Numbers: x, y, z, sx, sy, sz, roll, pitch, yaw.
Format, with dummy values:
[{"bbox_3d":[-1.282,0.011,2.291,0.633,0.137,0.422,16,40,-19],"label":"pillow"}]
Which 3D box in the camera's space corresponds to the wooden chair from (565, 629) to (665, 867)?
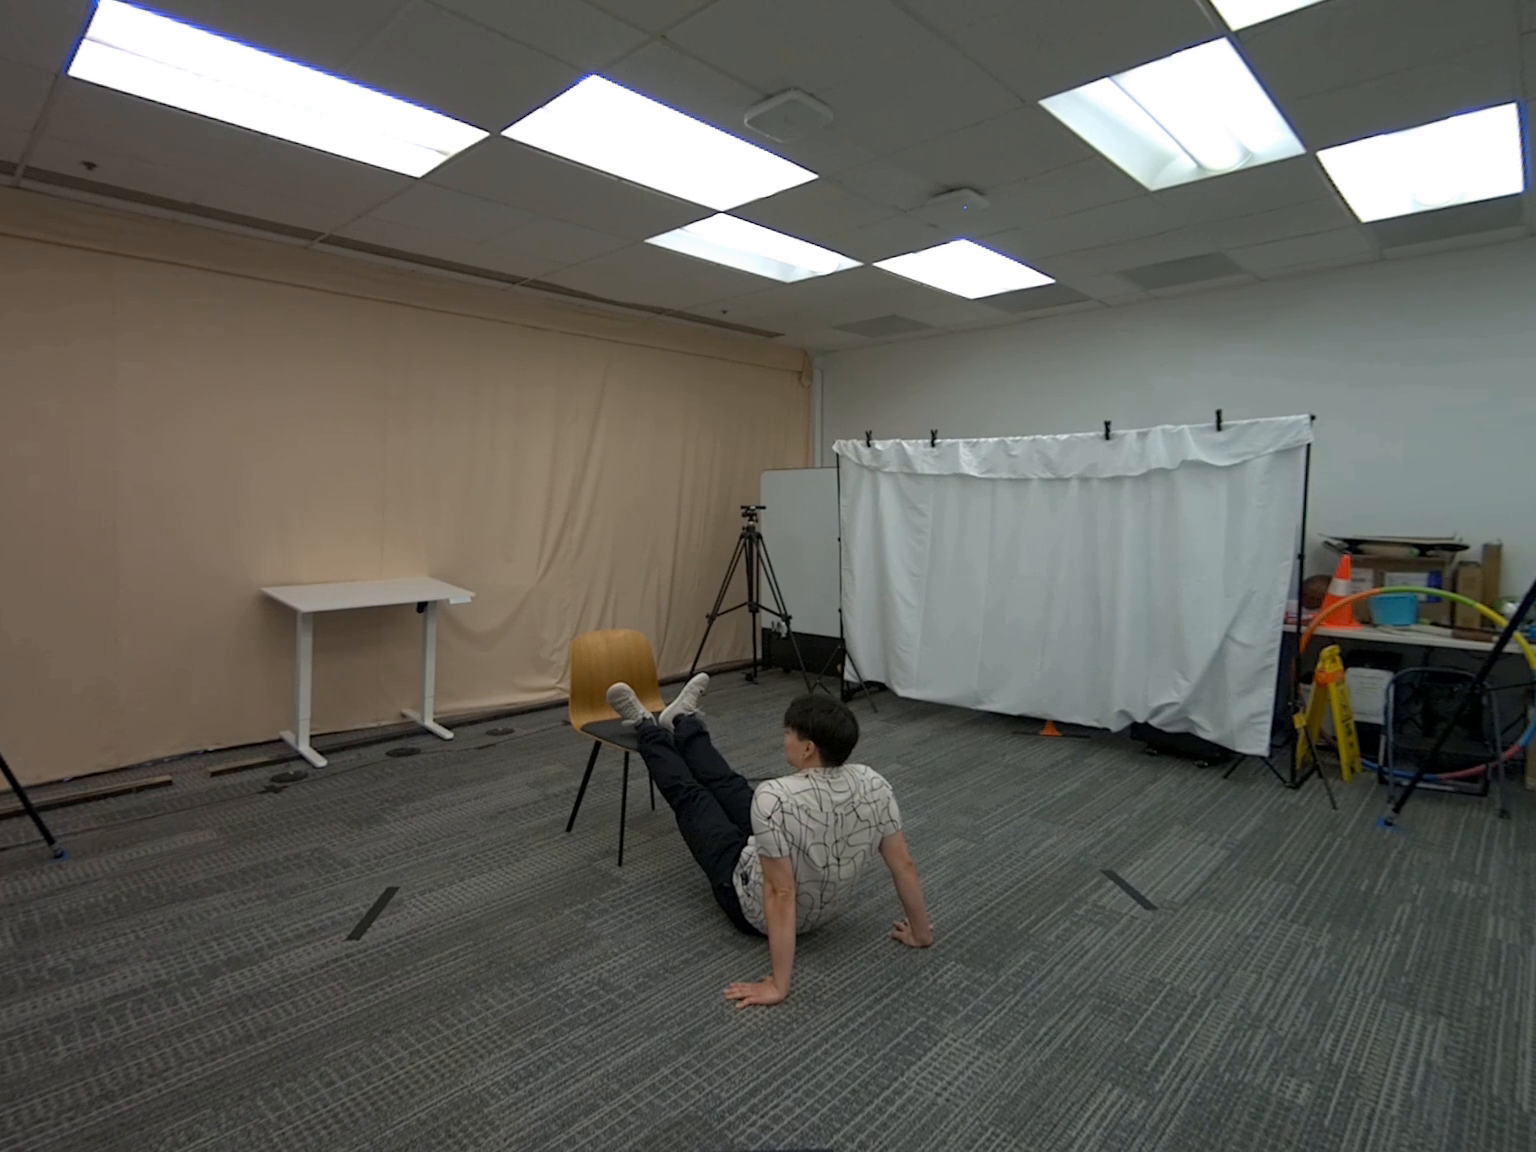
[{"bbox_3d":[-0.548,0.673,3.535,0.464,0.878,0.539,-3,-1,-38],"label":"wooden chair"}]
